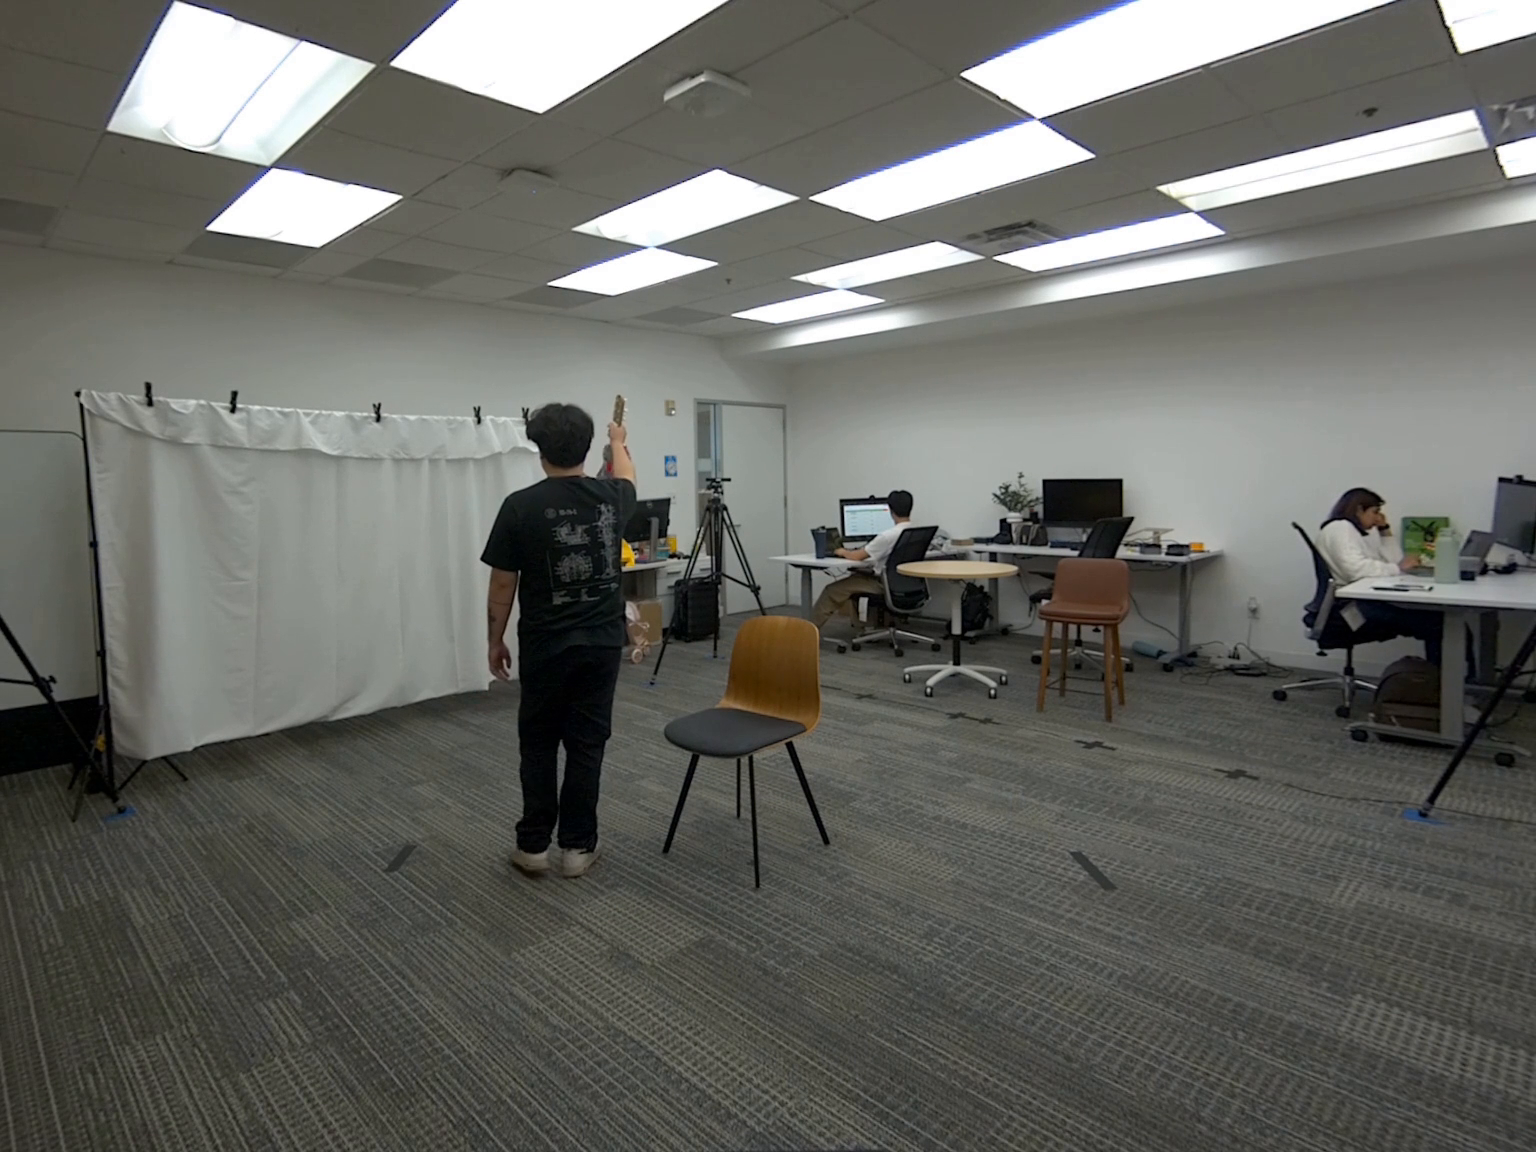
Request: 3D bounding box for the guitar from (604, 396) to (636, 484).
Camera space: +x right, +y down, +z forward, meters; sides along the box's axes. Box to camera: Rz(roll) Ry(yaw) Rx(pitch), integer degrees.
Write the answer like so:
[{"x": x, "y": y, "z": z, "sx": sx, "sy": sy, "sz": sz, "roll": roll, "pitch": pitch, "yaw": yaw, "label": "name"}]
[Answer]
[{"x": -0.625, "y": -0.509, "z": 3.587, "sx": 0.069, "sy": 0.490, "sz": 0.200, "roll": -10, "pitch": 46, "yaw": -35, "label": "guitar"}]
